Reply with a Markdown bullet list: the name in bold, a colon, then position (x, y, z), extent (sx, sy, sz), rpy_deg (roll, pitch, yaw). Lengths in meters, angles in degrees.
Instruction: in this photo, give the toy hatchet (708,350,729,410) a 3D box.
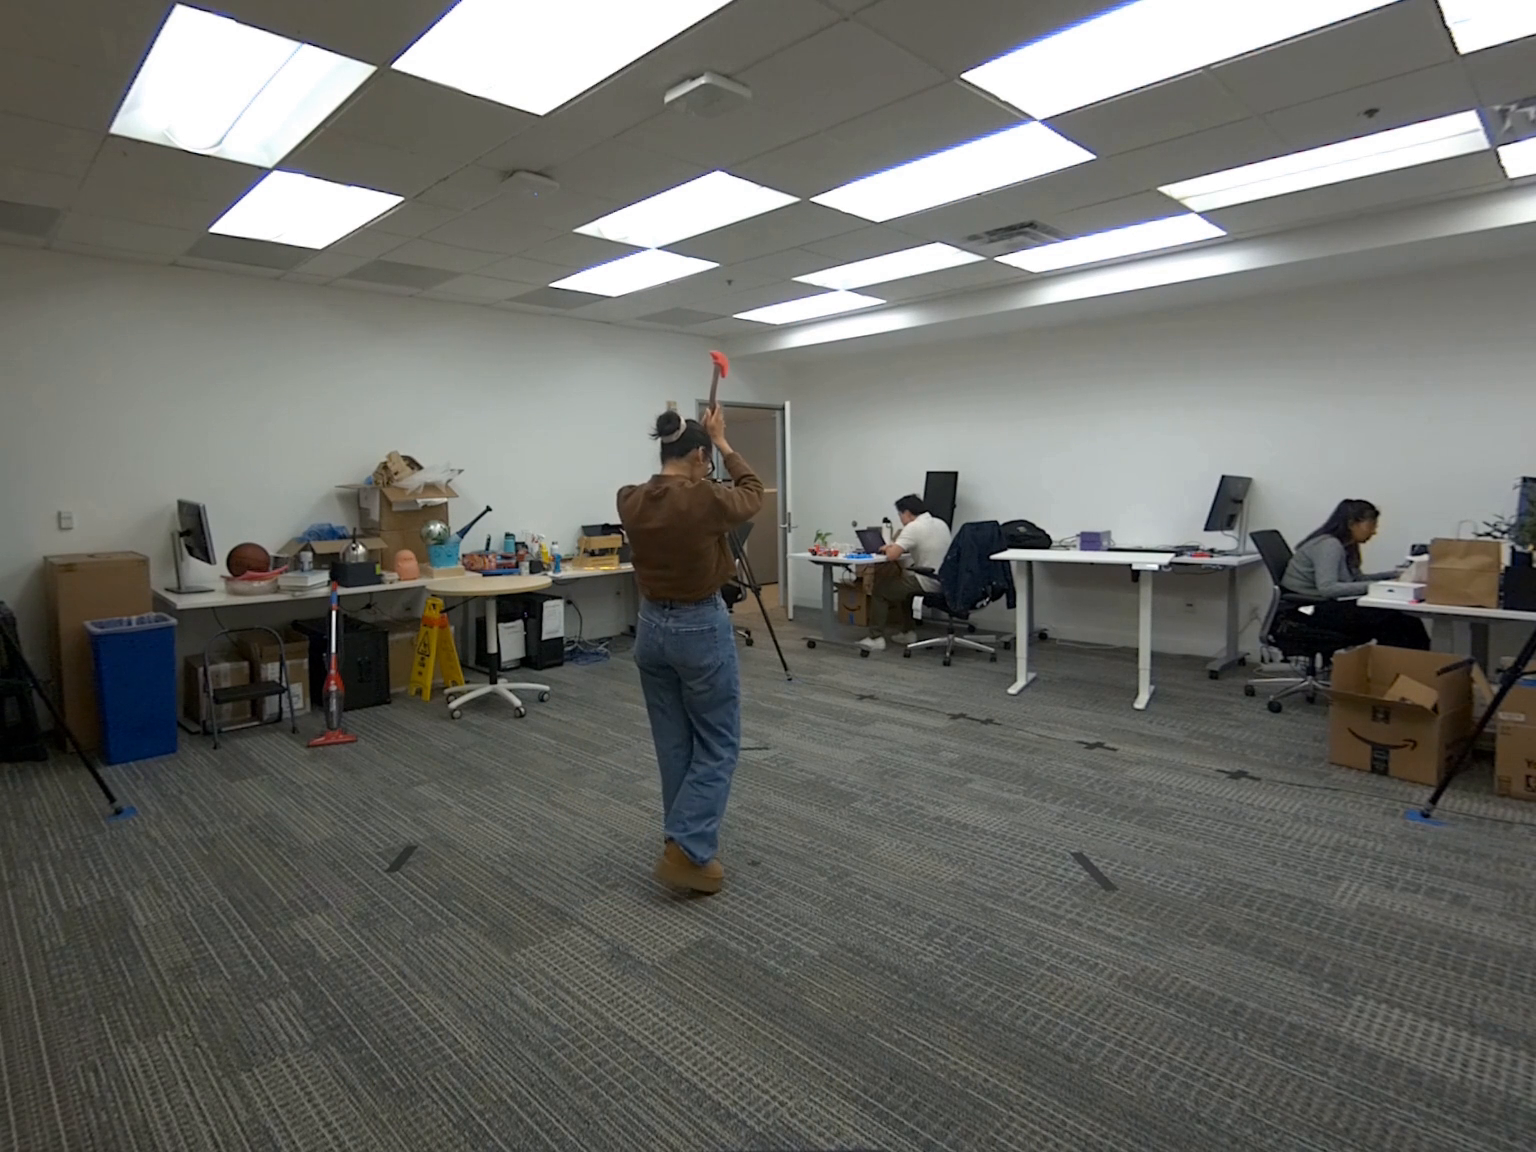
- **toy hatchet**: position (-0.175, -0.688, 3.128), extent (0.030, 0.269, 0.128), rpy_deg (4, 5, 25)
